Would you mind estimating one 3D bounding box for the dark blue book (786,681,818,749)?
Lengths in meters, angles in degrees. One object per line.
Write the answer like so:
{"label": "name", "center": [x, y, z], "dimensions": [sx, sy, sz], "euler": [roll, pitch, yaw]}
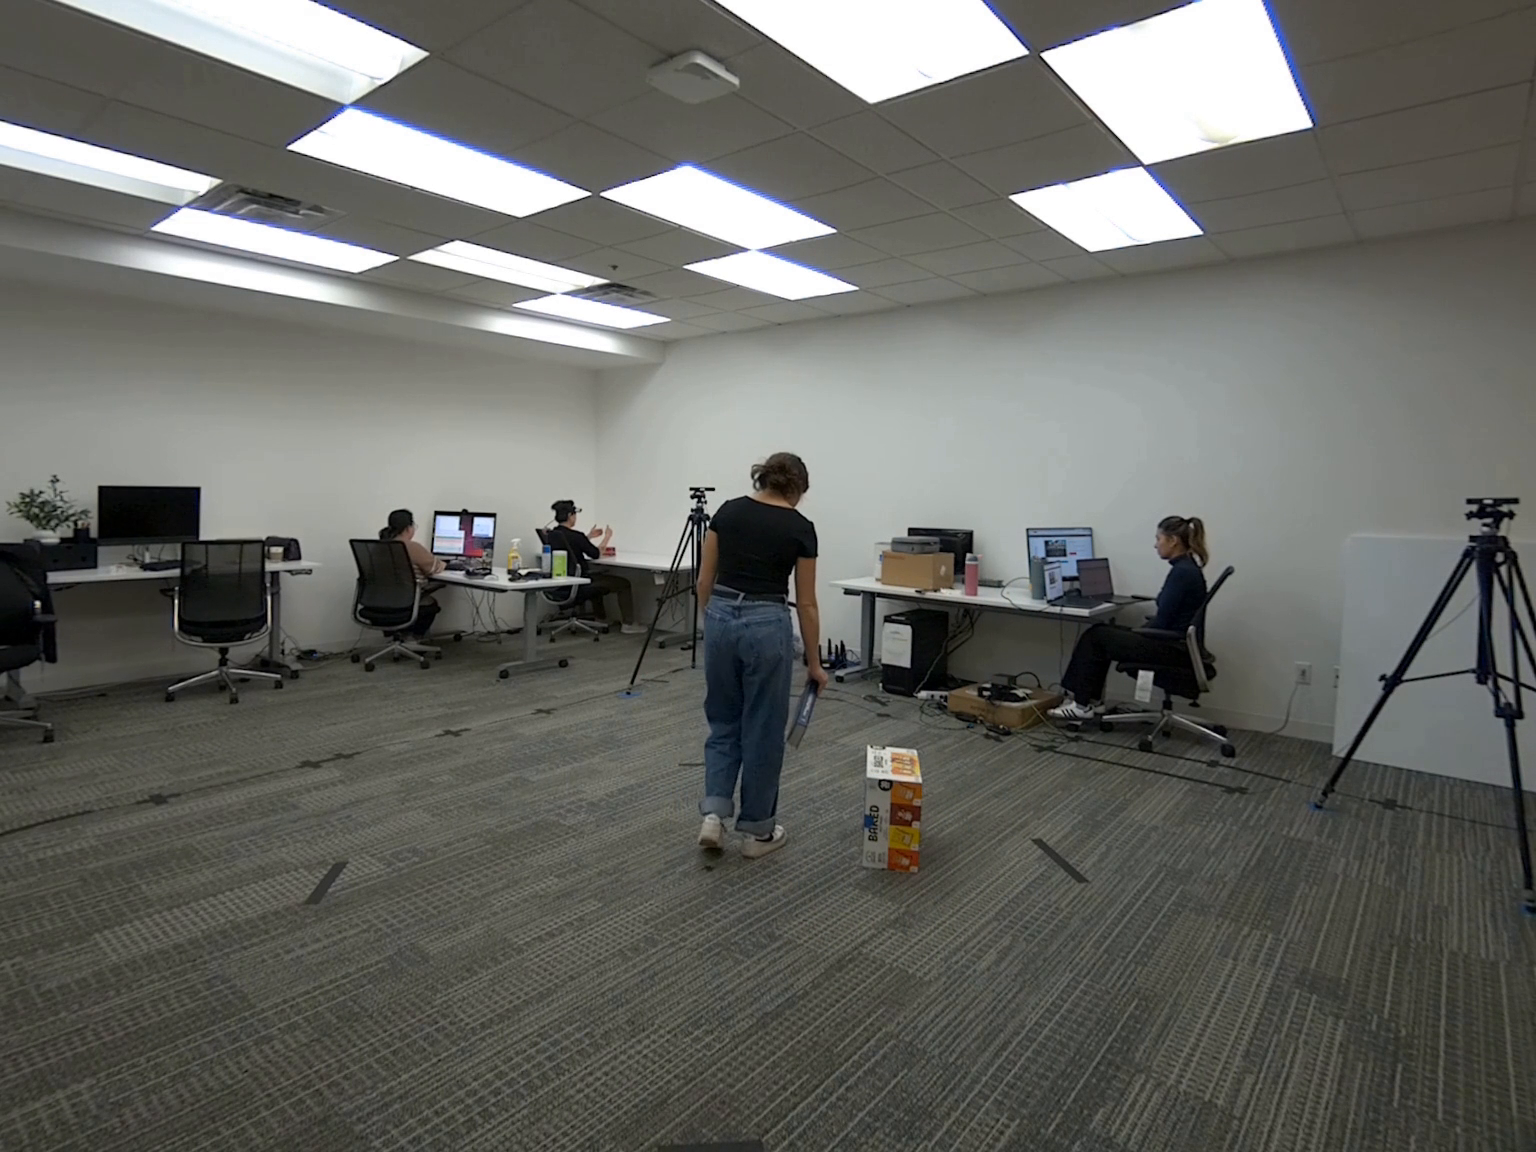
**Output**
{"label": "dark blue book", "center": [0.127, 0.519, 3.255], "dimensions": [0.045, 0.160, 0.248], "euler": [21, 46, 2]}
